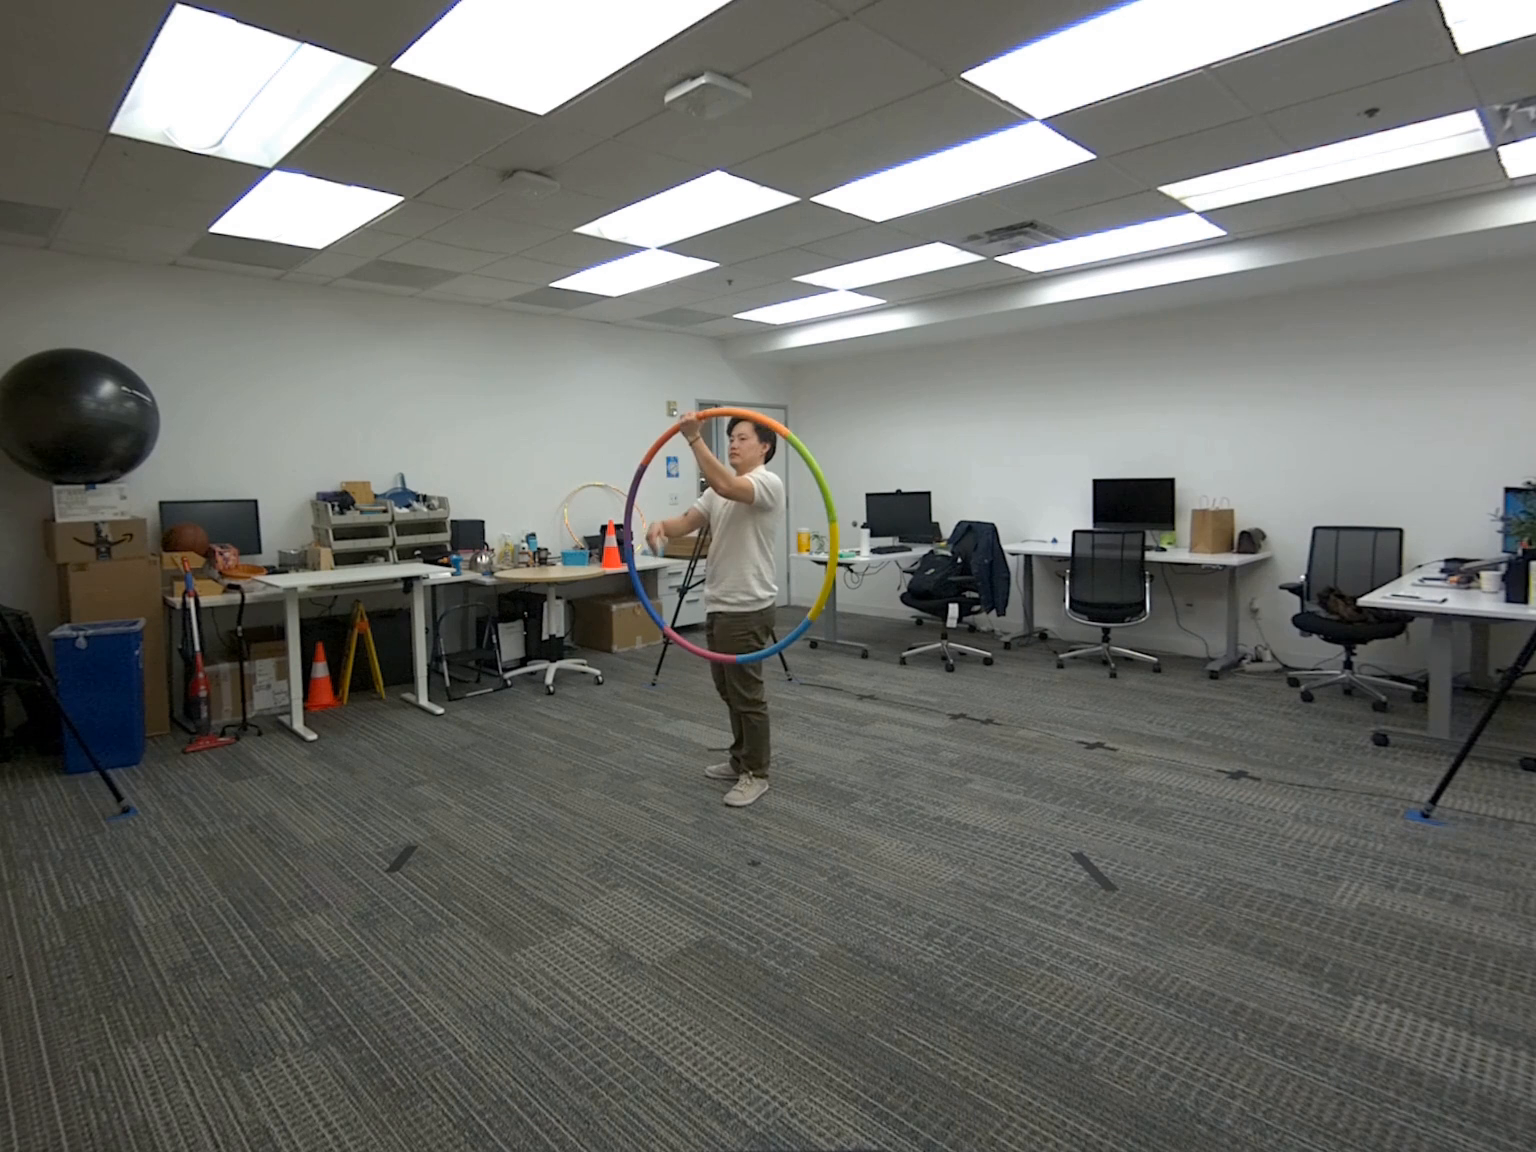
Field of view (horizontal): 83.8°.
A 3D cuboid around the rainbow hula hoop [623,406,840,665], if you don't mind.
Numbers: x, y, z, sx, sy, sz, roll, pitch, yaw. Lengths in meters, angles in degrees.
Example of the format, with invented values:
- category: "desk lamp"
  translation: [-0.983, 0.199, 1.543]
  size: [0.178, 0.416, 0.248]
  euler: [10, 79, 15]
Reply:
- category: "rainbow hula hoop"
  translation: [-0.178, -0.157, 3.348]
  size: [1.005, 0.976, 0.035]
  euler: [2, 4, 31]
